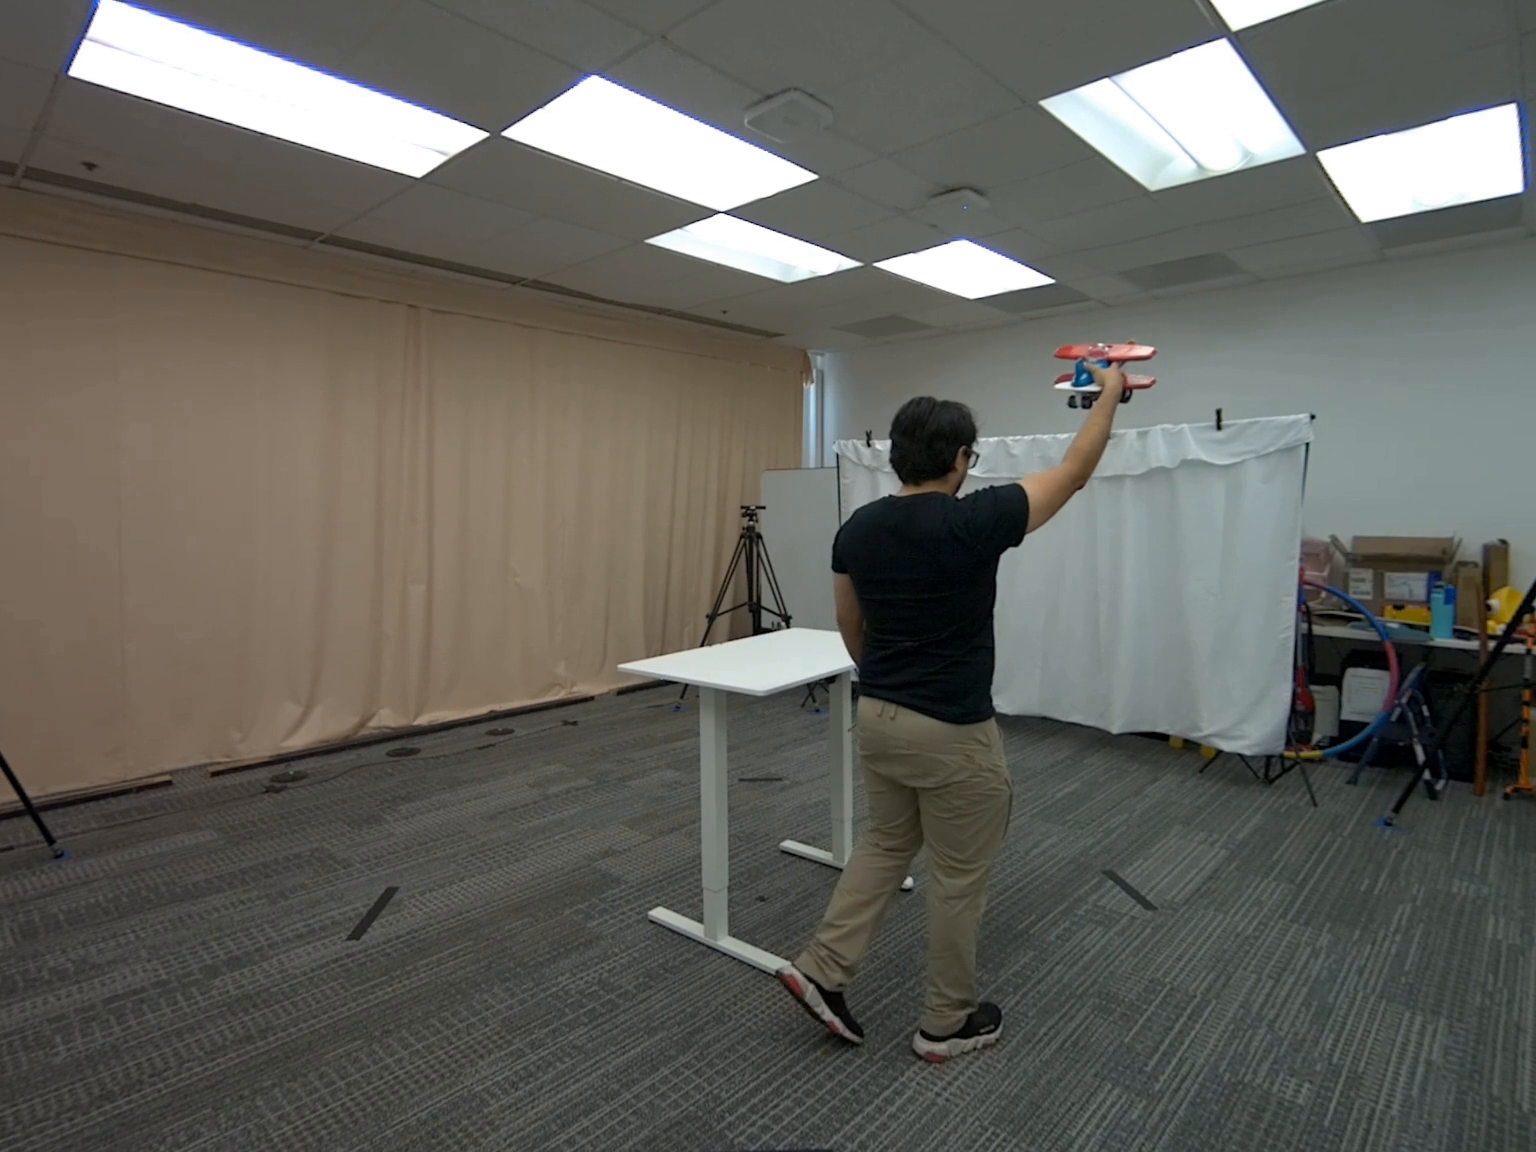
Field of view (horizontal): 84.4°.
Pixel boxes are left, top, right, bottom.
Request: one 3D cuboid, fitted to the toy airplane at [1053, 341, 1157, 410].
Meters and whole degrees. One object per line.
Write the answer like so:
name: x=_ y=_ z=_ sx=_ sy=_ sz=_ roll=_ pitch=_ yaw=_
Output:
toy airplane: x=0.897 y=-0.526 z=2.210 sx=0.255 sy=0.155 sz=0.257 roll=4 pitch=18 yaw=15
